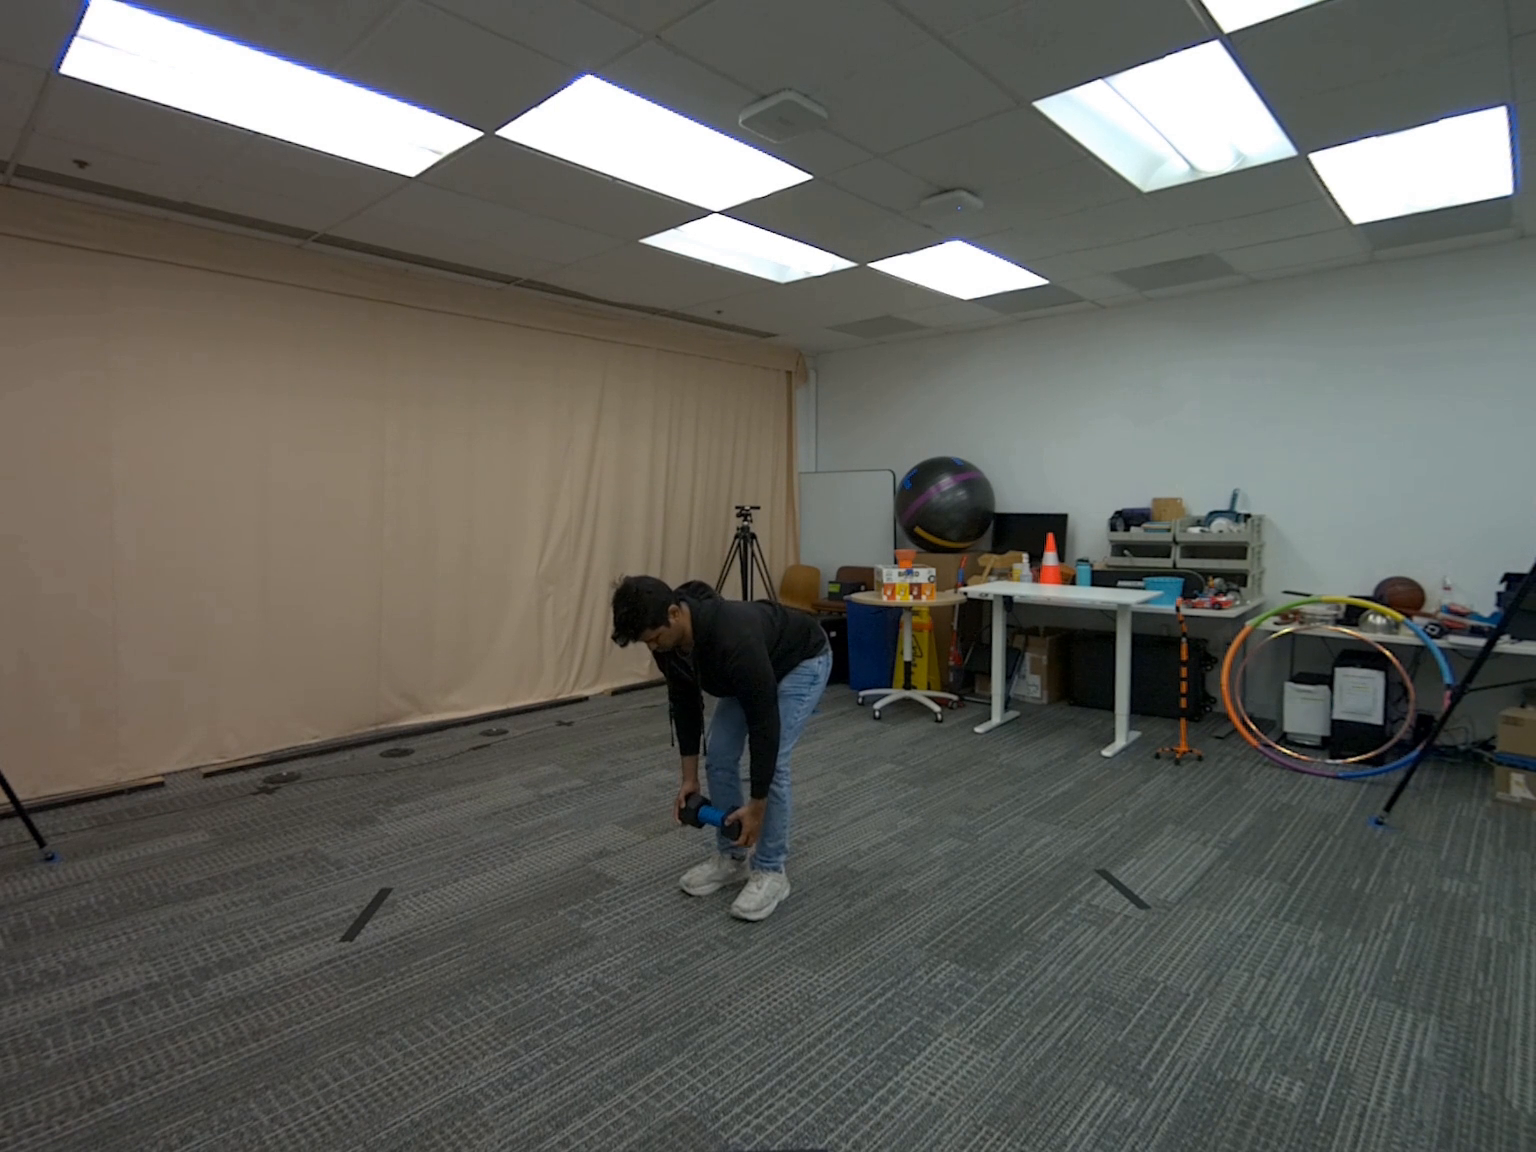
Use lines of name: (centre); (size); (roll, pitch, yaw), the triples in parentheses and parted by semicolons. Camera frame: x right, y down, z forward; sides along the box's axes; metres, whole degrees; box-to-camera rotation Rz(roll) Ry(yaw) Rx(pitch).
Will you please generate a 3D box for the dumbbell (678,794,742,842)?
dumbbell: (-0.174, 0.841, 2.930); (0.303, 0.109, 0.118); (1, -26, 43)
